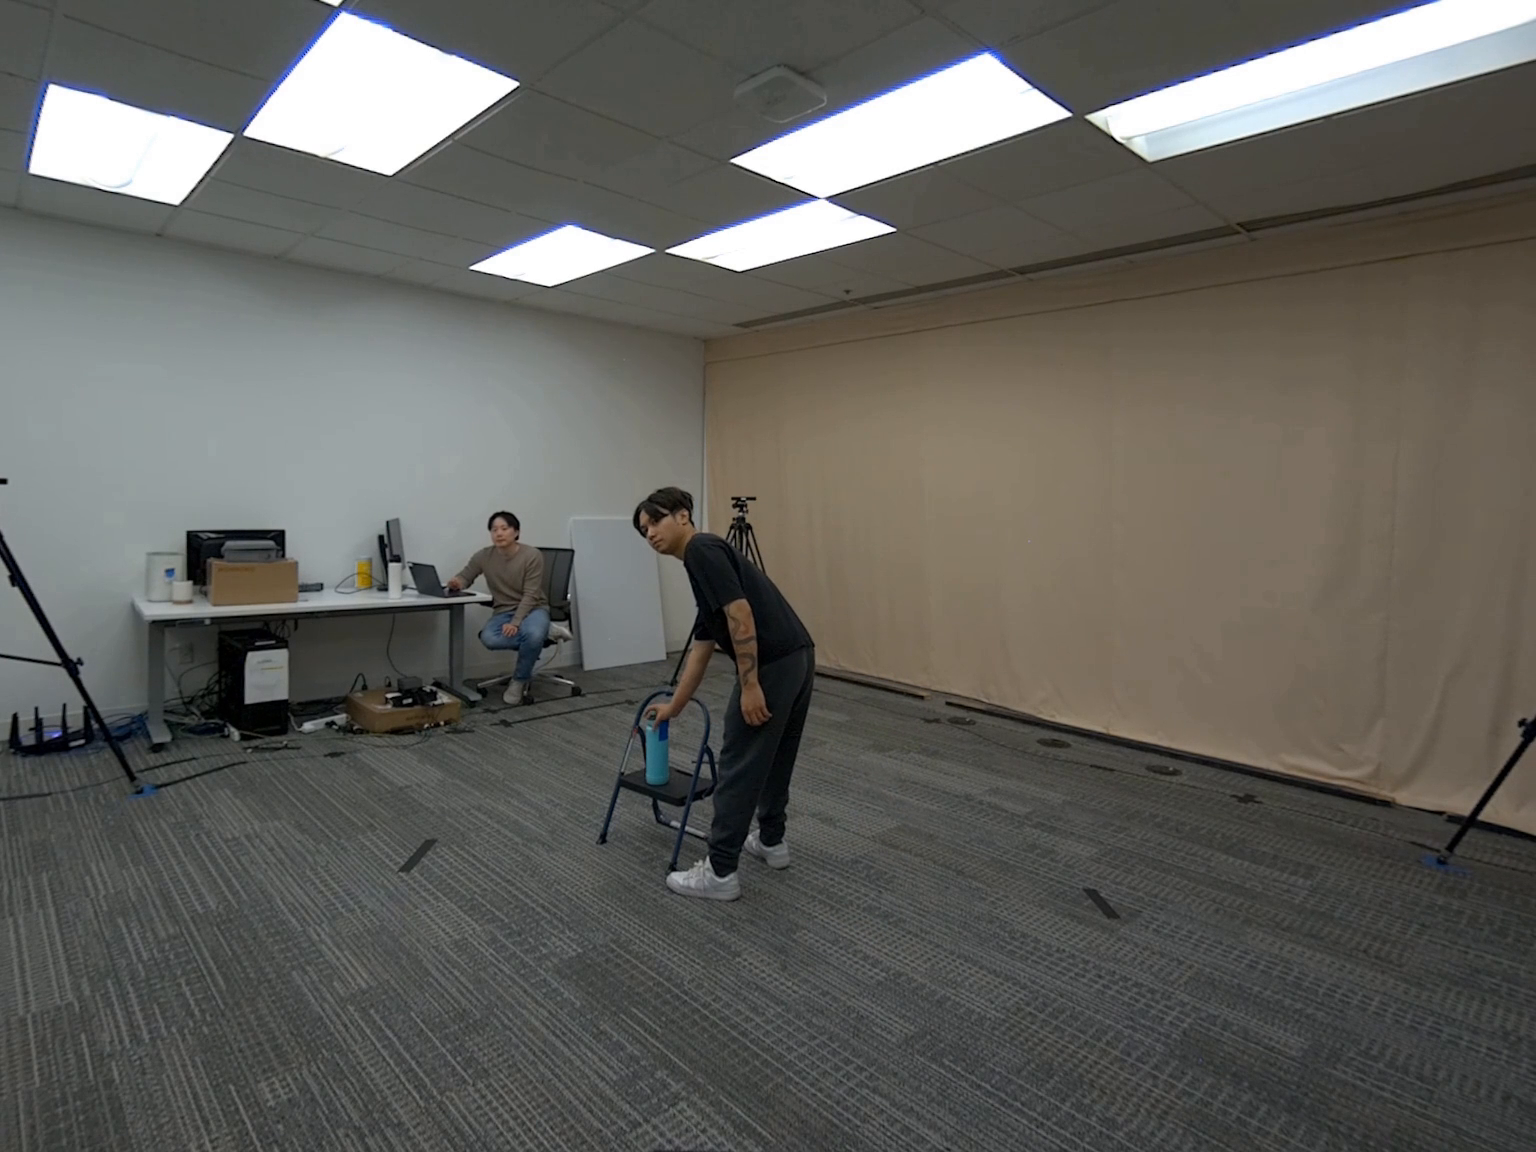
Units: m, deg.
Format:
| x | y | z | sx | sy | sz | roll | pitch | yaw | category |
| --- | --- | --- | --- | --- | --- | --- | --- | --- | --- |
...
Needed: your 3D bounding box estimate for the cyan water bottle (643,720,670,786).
| x | y | z | sx | sy | sz | roll | pitch | yaw | category |
| --- | --- | --- | --- | --- | --- | --- | --- | --- | --- |
| -0.444 | 0.680 | 3.340 | 0.092 | 0.283 | 0.092 | -1 | 2 | -1 | cyan water bottle |
